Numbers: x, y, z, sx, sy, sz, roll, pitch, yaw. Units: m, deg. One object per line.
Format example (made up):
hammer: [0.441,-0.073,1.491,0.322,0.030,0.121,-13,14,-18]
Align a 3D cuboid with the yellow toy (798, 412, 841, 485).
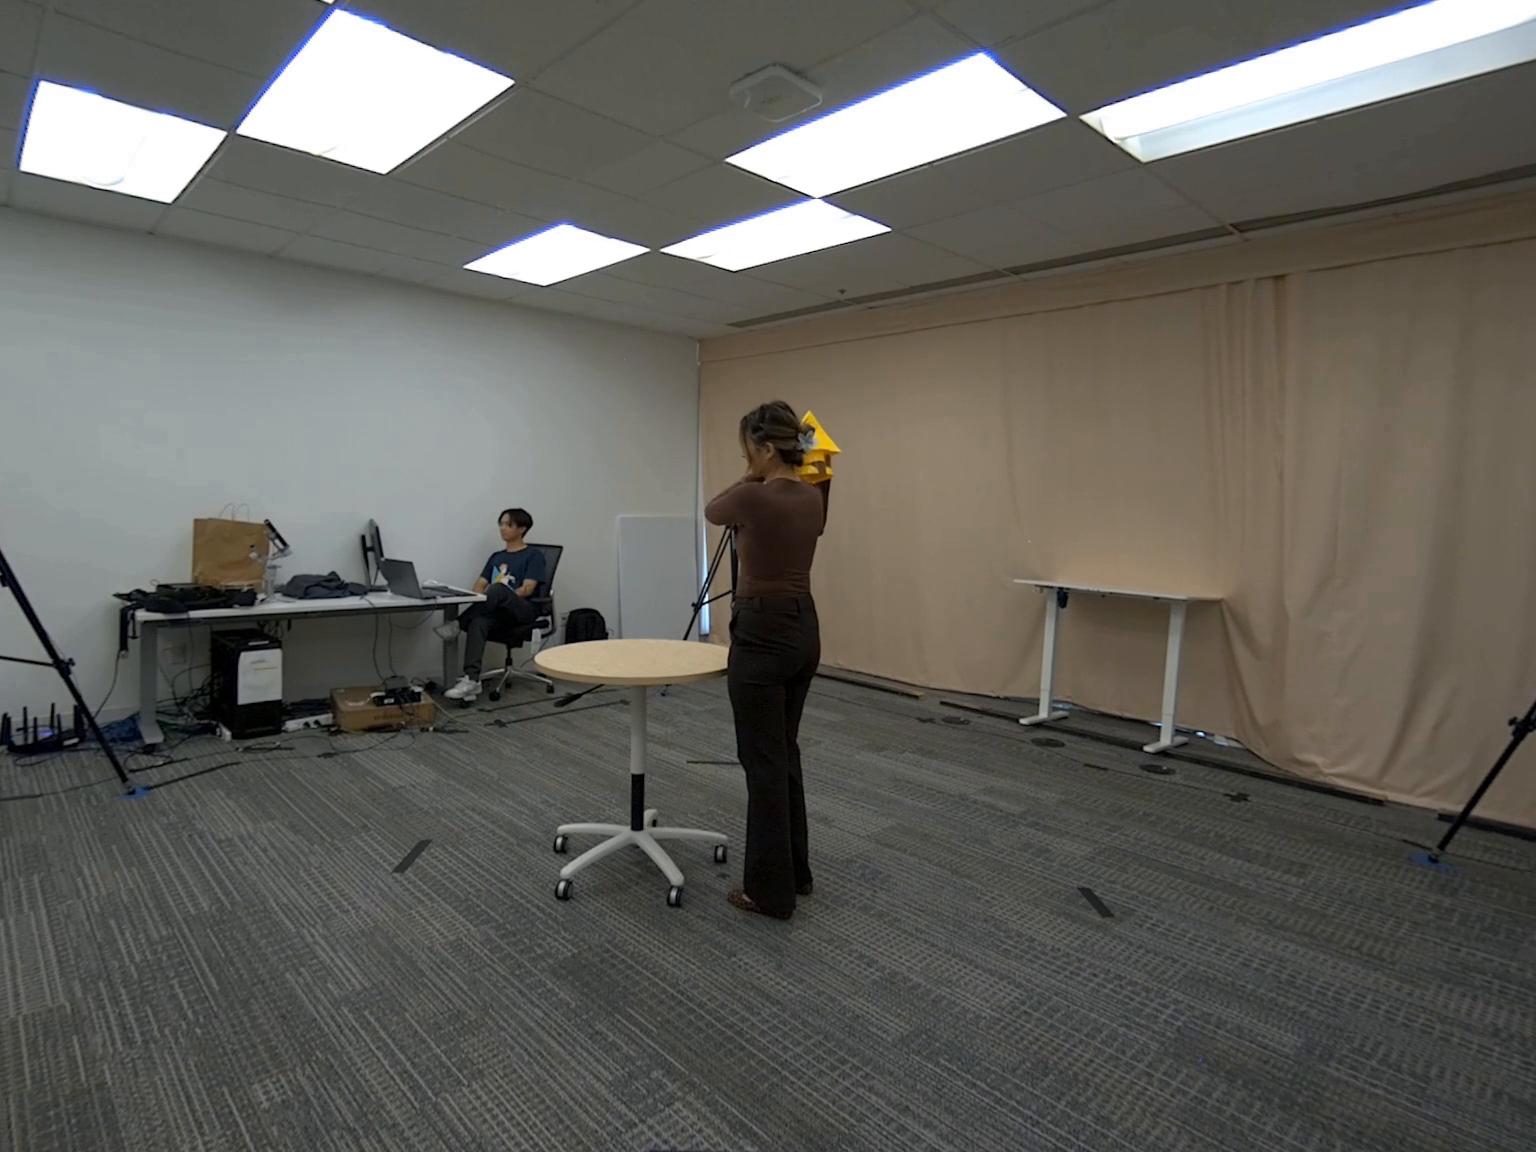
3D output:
yellow toy: [0.114,-0.452,2.965,0.196,0.232,0.200,-16,-9,41]
